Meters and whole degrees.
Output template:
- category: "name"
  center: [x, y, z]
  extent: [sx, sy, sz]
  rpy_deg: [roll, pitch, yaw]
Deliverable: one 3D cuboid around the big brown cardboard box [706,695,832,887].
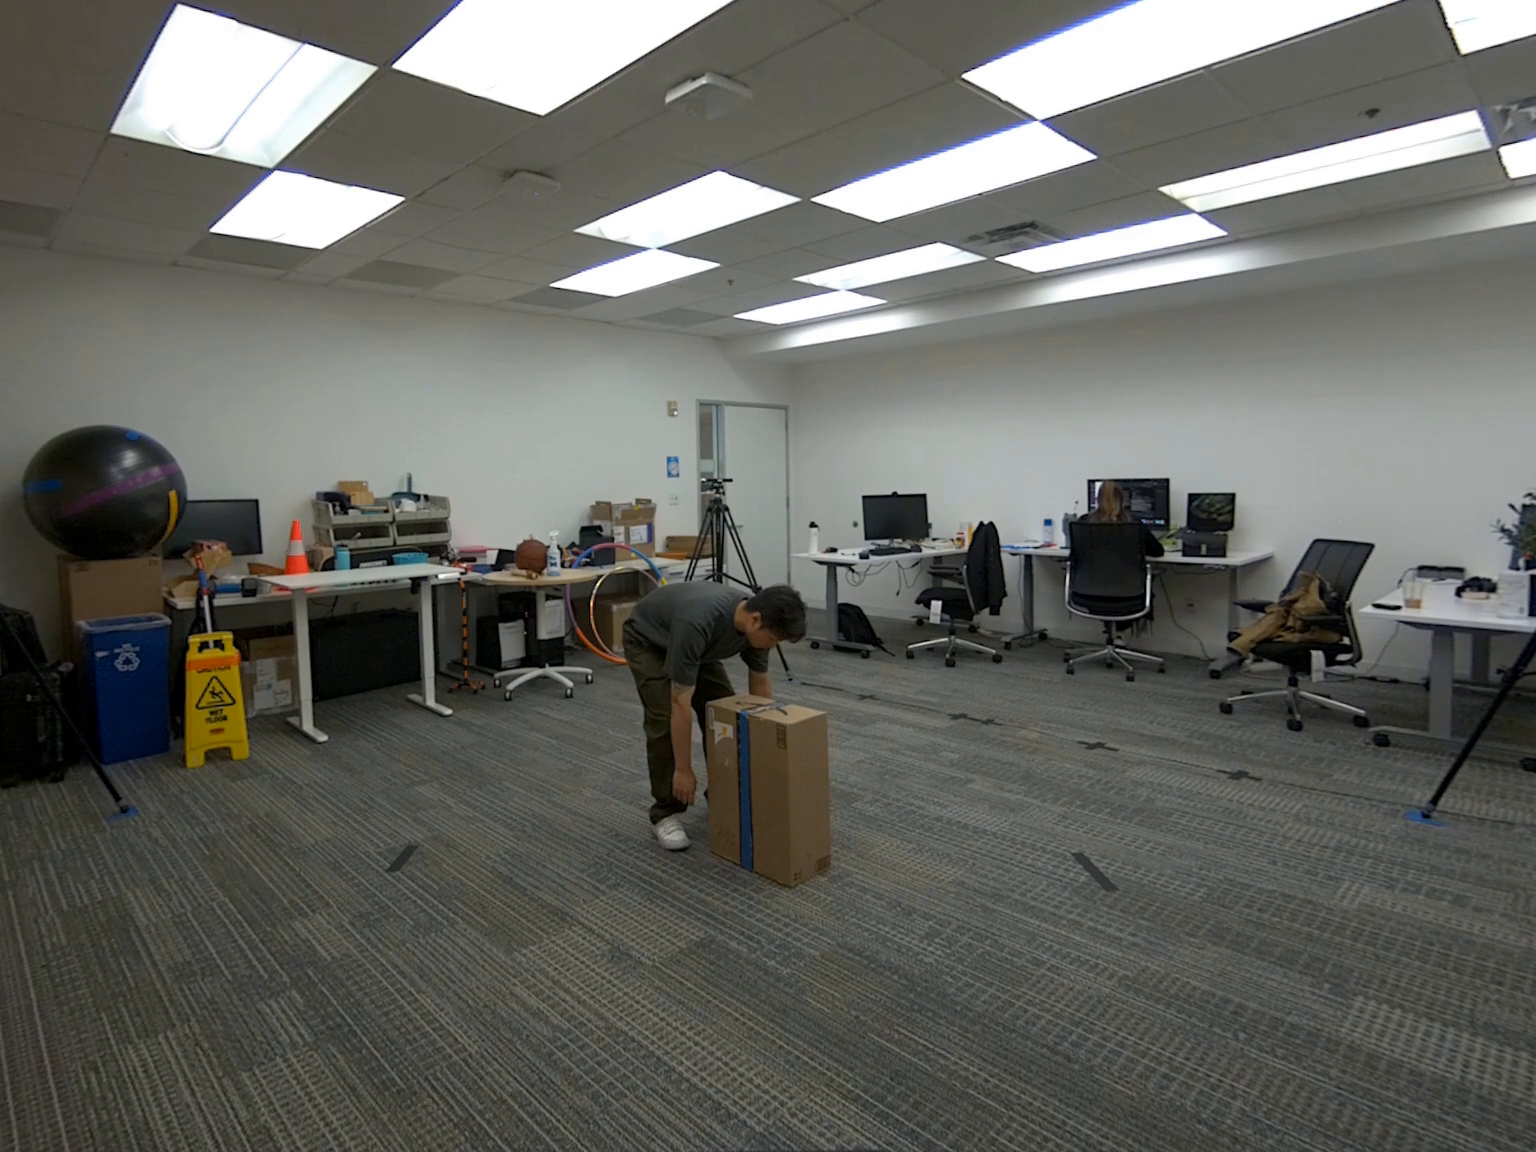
- category: "big brown cardboard box"
  center: [-0.004, 0.755, 3.114]
  extent: [0.227, 0.587, 0.430]
  rpy_deg: [-5, 5, -44]
